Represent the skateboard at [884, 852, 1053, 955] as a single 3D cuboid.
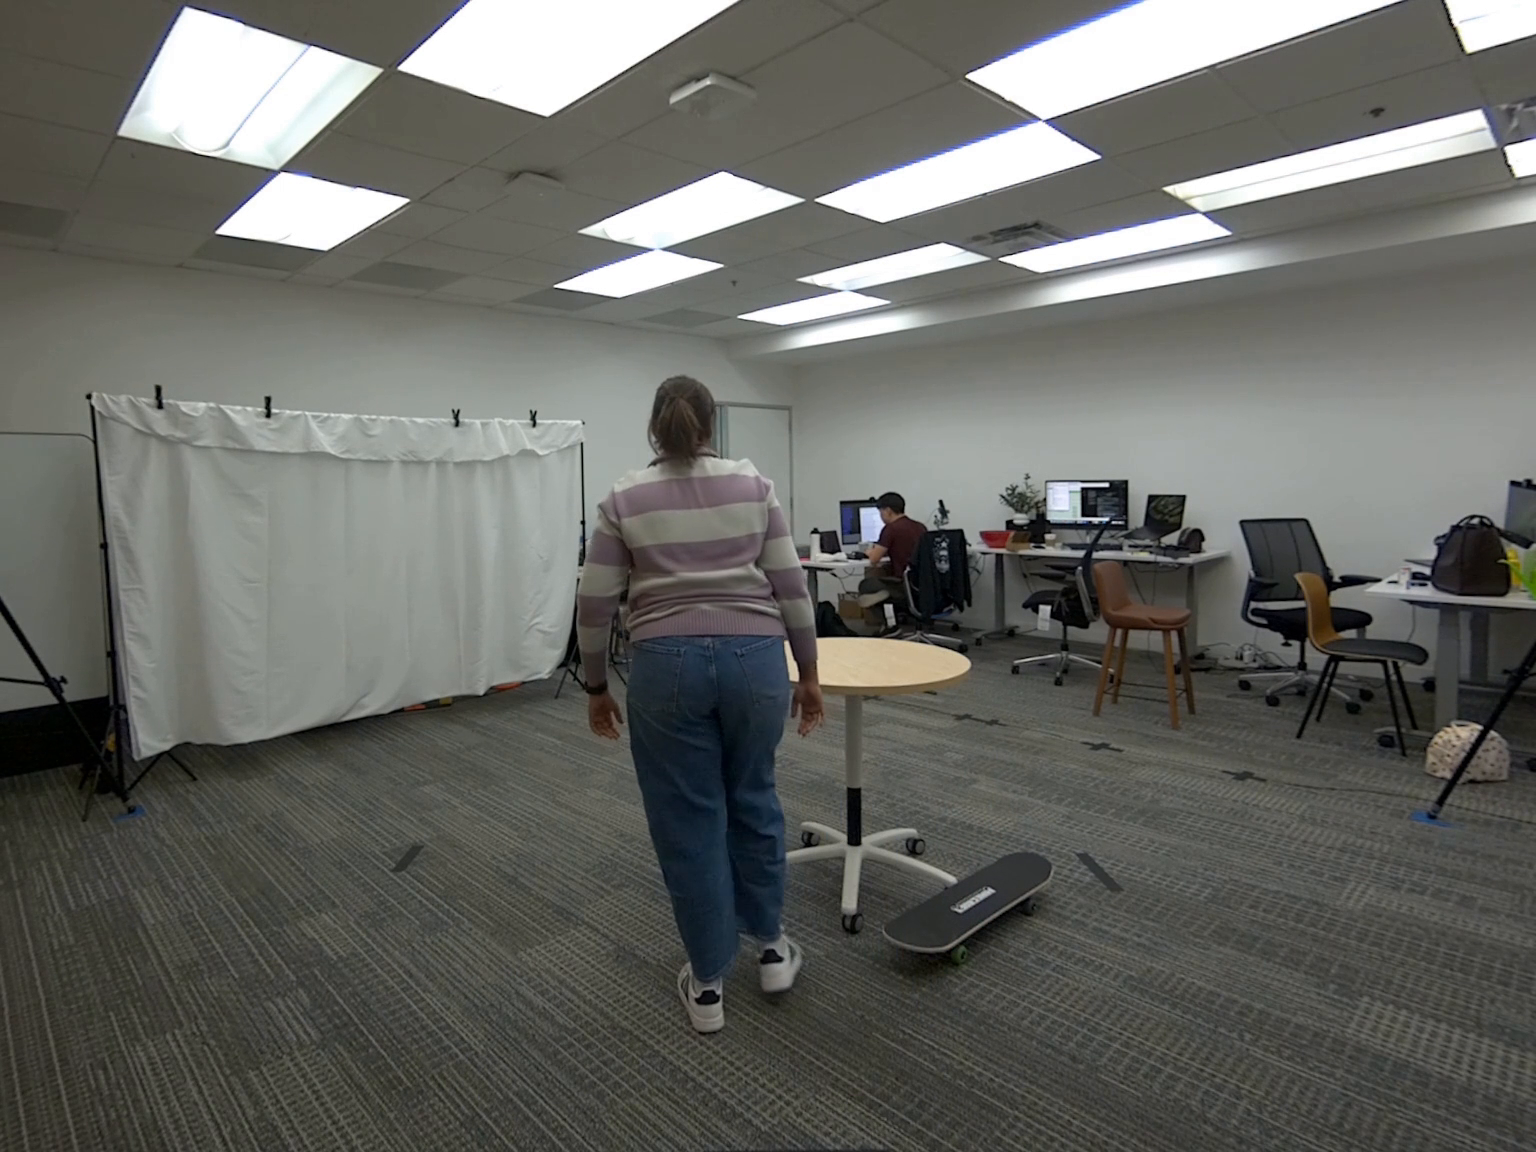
[{"bbox_3d":[0.639,1.028,2.643,0.765,0.110,0.199,-7,9,-43],"label":"skateboard"}]
